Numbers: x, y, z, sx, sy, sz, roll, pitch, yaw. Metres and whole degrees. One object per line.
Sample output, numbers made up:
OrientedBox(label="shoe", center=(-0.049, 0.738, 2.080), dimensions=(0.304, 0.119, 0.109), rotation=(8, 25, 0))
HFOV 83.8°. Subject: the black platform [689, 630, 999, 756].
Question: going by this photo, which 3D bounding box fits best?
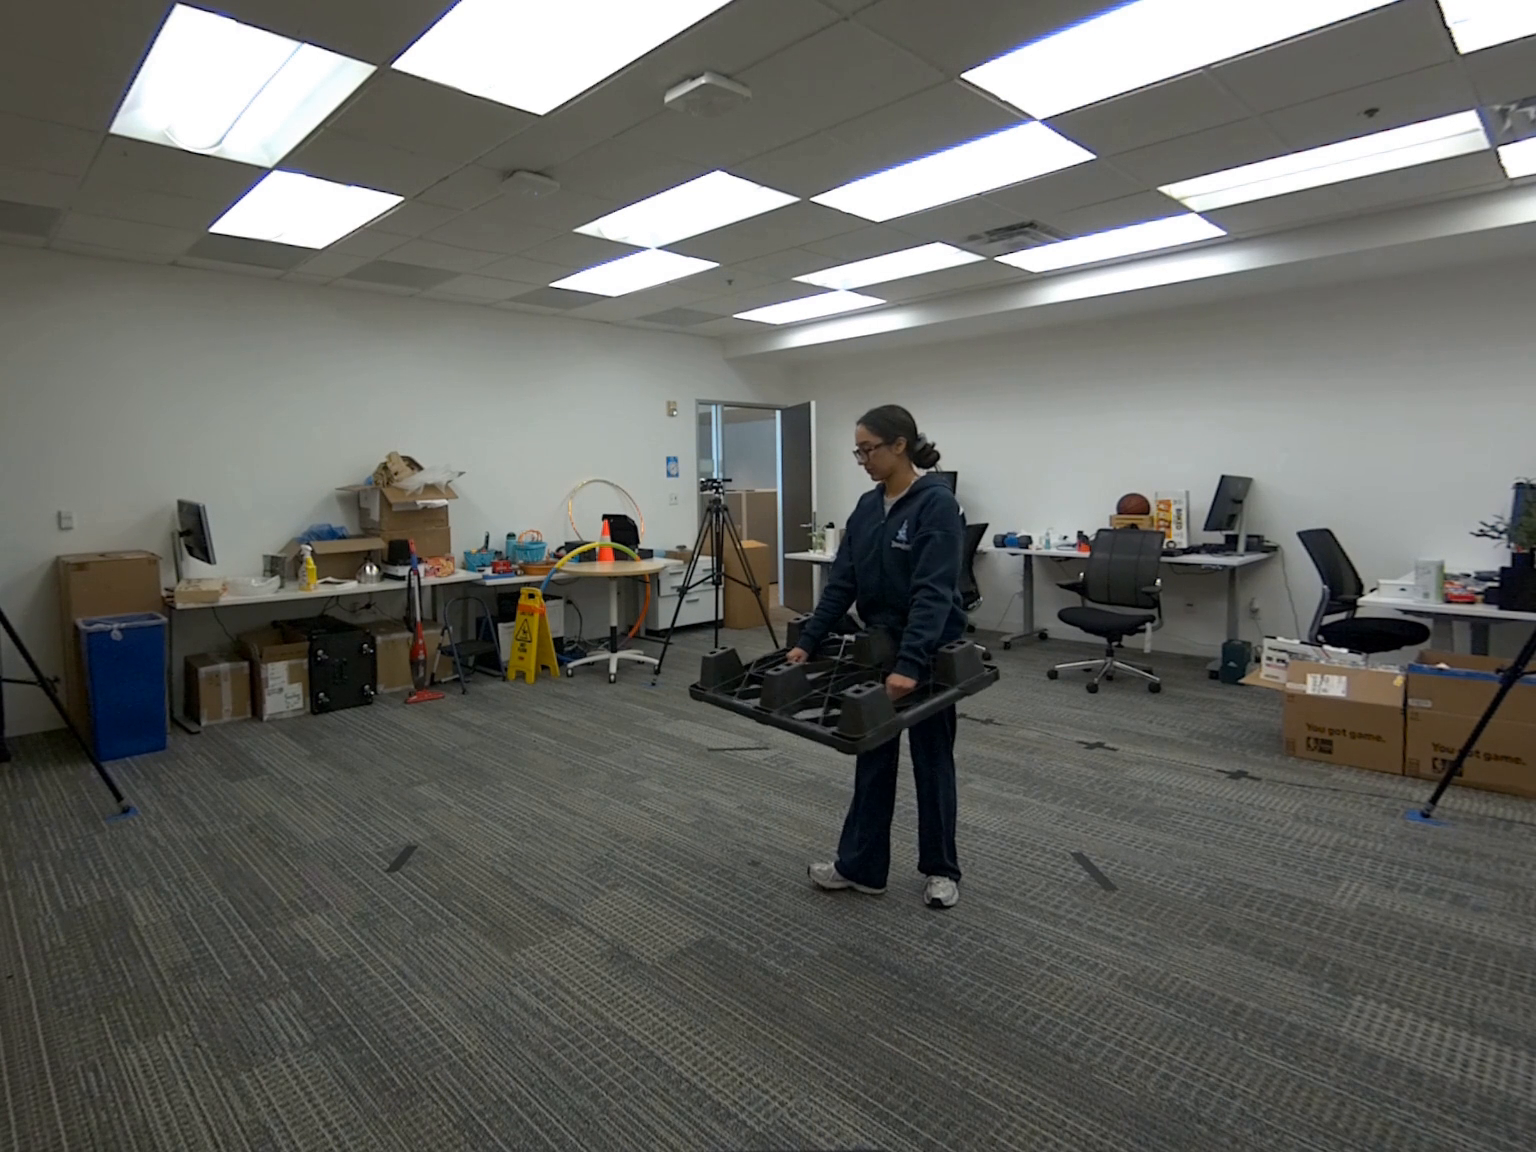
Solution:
OrientedBox(label="black platform", center=(0.200, 0.285, 2.638), dimensions=(0.595, 0.141, 0.830), rotation=(-20, 16, -34))
